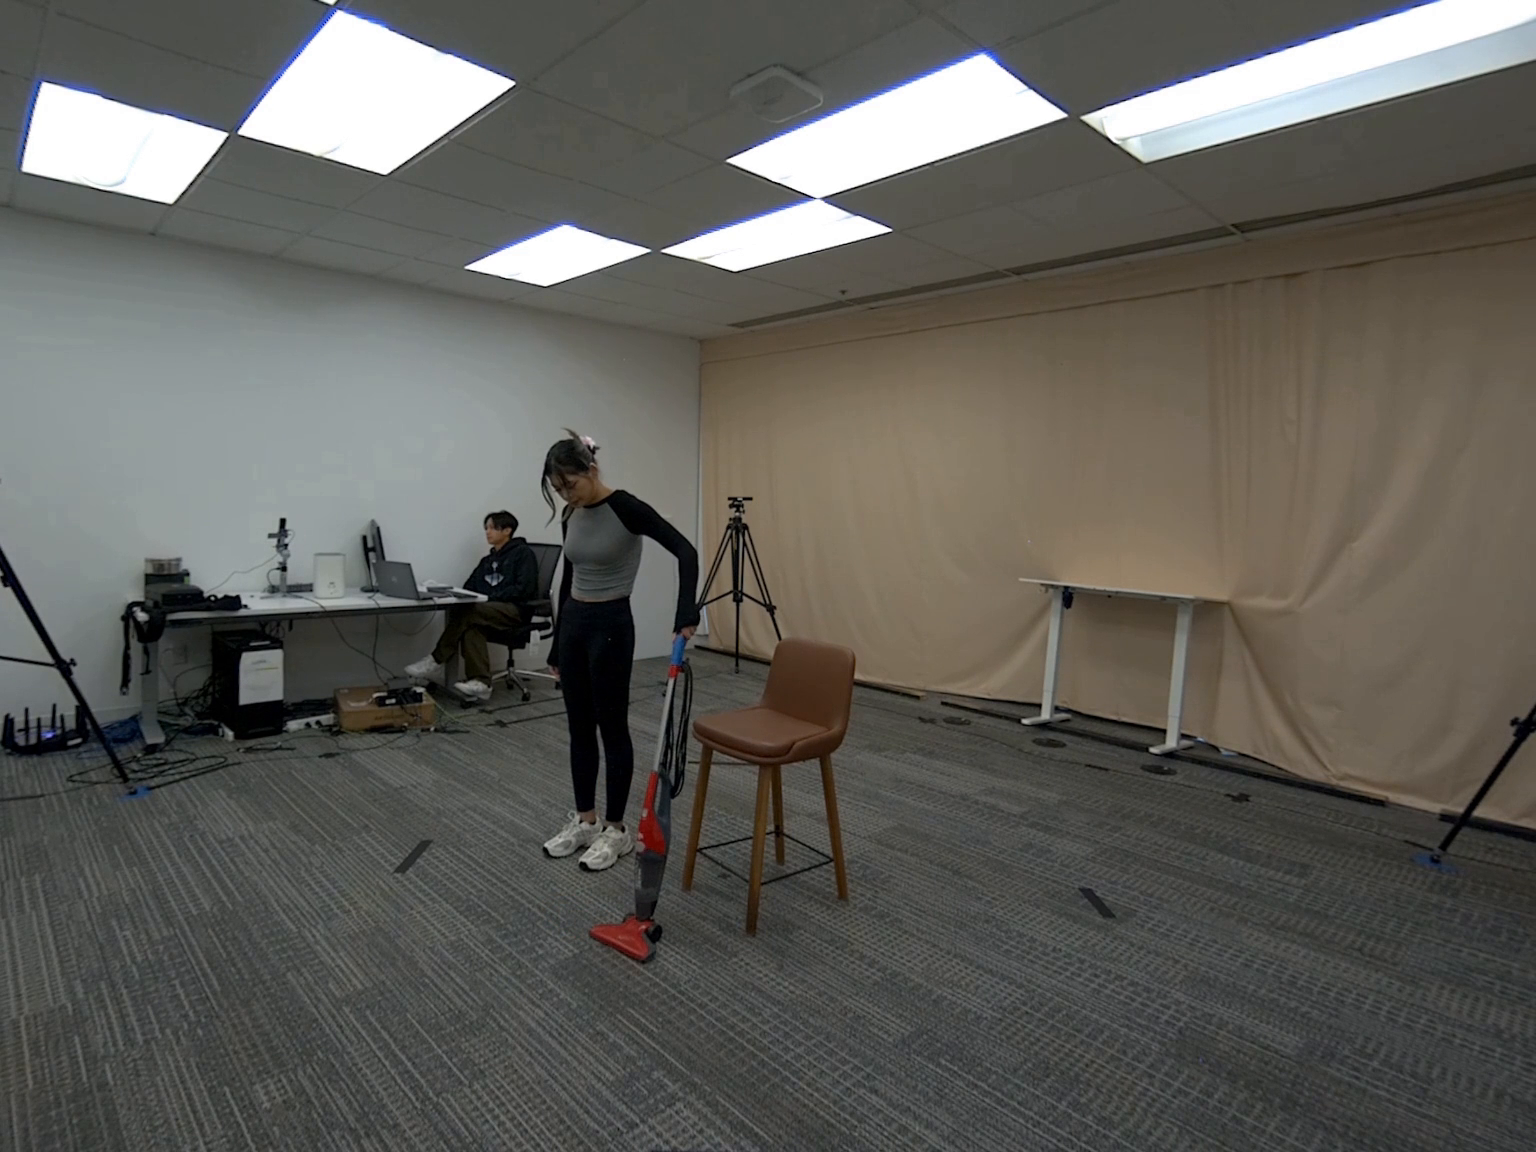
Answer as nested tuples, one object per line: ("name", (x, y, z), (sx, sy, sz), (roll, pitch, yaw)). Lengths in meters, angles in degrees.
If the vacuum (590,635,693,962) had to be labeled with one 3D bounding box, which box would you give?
("vacuum", (-0.345, 0.642, 2.728), (0.258, 1.057, 0.139), (-1, -17, 43))
